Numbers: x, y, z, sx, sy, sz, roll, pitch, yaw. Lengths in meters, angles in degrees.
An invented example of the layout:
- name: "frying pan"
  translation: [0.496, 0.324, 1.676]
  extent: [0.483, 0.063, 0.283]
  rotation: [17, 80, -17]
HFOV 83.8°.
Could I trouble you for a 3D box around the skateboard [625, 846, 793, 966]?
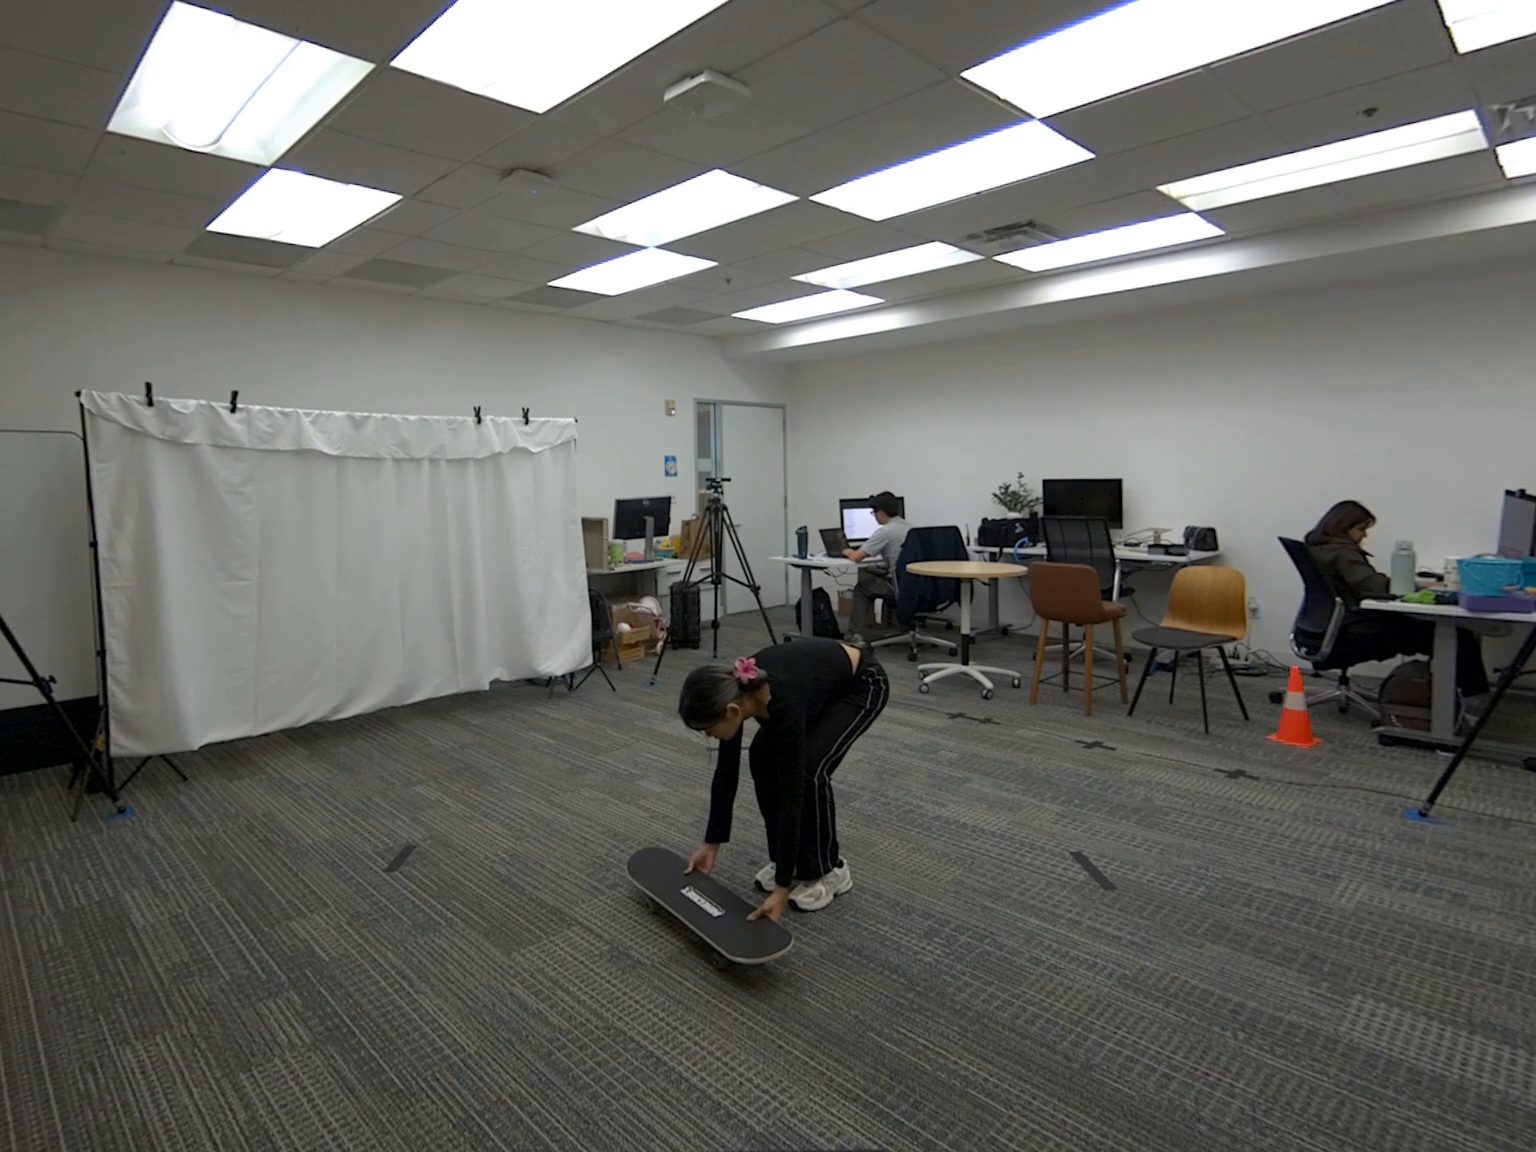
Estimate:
- name: "skateboard"
  translation: [-0.193, 1.028, 2.637]
  extent: [0.189, 0.109, 0.809]
  rotation: [-14, 13, -34]
